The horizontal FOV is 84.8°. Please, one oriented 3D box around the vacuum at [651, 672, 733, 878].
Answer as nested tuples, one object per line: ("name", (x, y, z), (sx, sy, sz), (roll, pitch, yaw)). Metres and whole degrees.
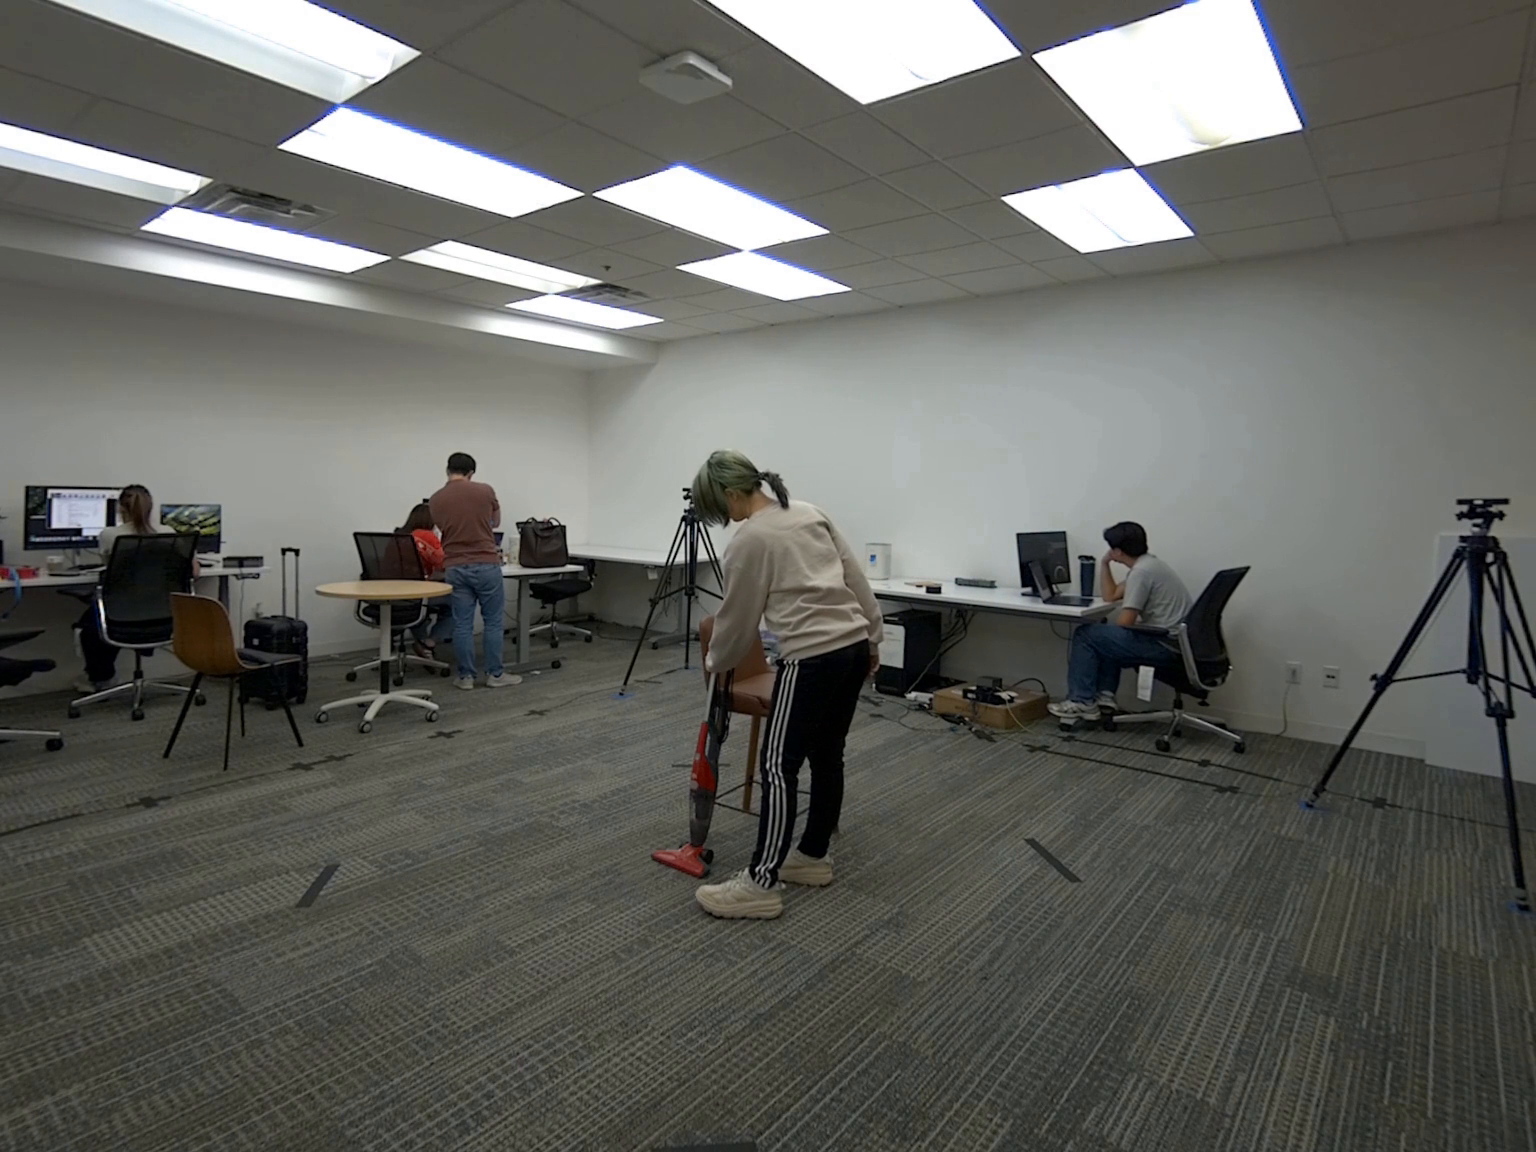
("vacuum", (-0.220, 0.555, 3.253), (0.261, 1.057, 0.138), (0, -14, 45))
